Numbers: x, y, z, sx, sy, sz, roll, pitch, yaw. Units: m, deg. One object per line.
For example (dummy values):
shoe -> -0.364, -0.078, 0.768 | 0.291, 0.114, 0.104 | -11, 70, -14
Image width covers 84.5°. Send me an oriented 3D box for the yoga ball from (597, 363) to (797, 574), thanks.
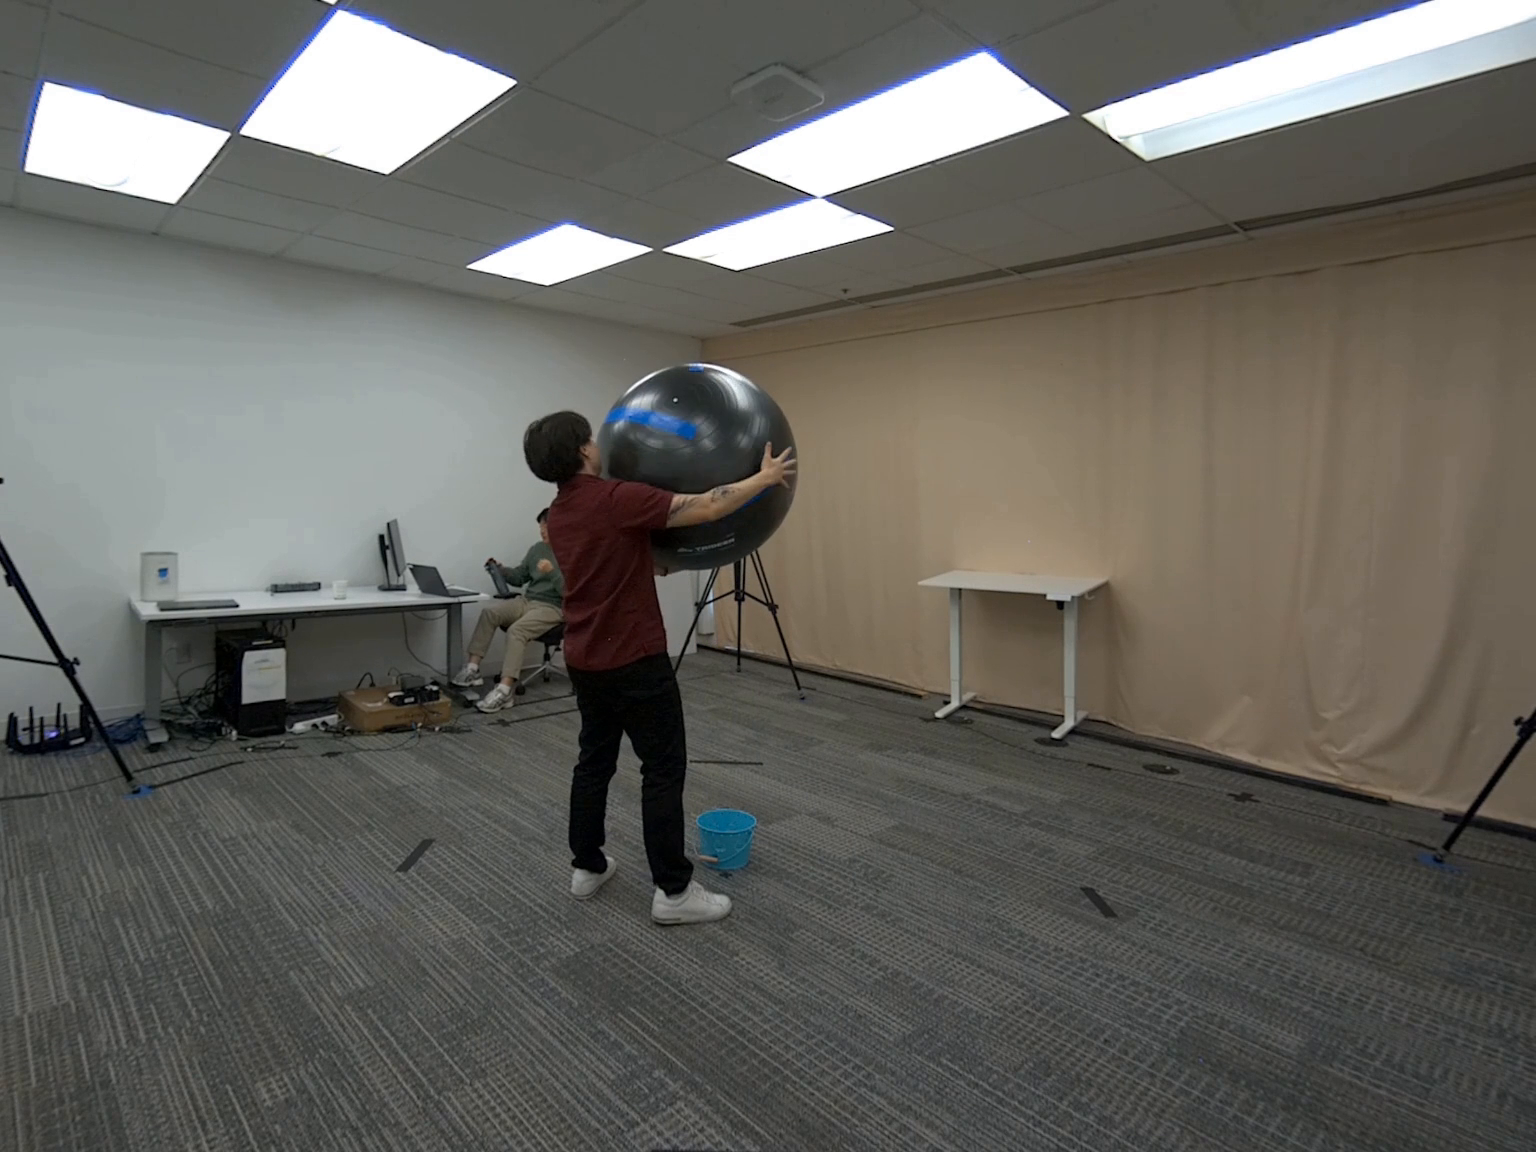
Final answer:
yoga ball -> -0.265, -0.393, 3.116 | 0.757, 0.756, 0.761 | 1, 4, -1
